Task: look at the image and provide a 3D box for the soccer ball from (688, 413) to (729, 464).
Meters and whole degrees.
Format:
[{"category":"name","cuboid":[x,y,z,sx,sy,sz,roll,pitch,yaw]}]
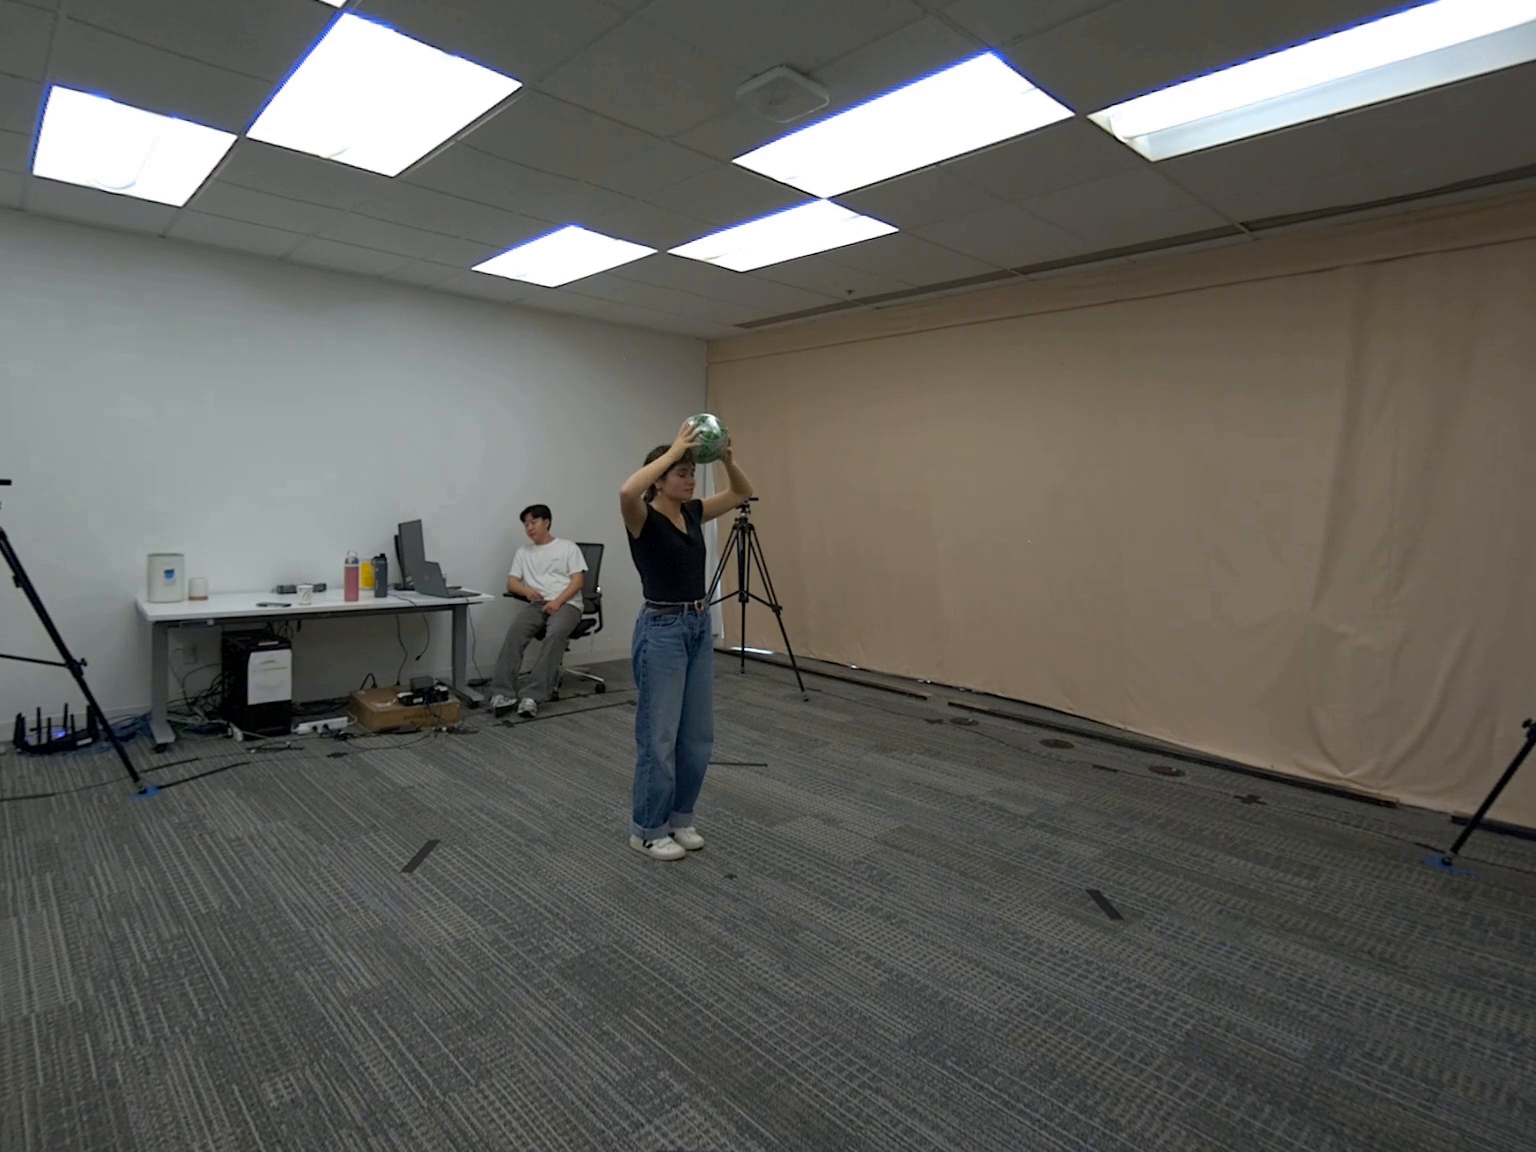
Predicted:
[{"category":"soccer ball","cuboid":[-0.246,-0.497,3.156,0.187,0.187,0.188,1,4,-1]}]
